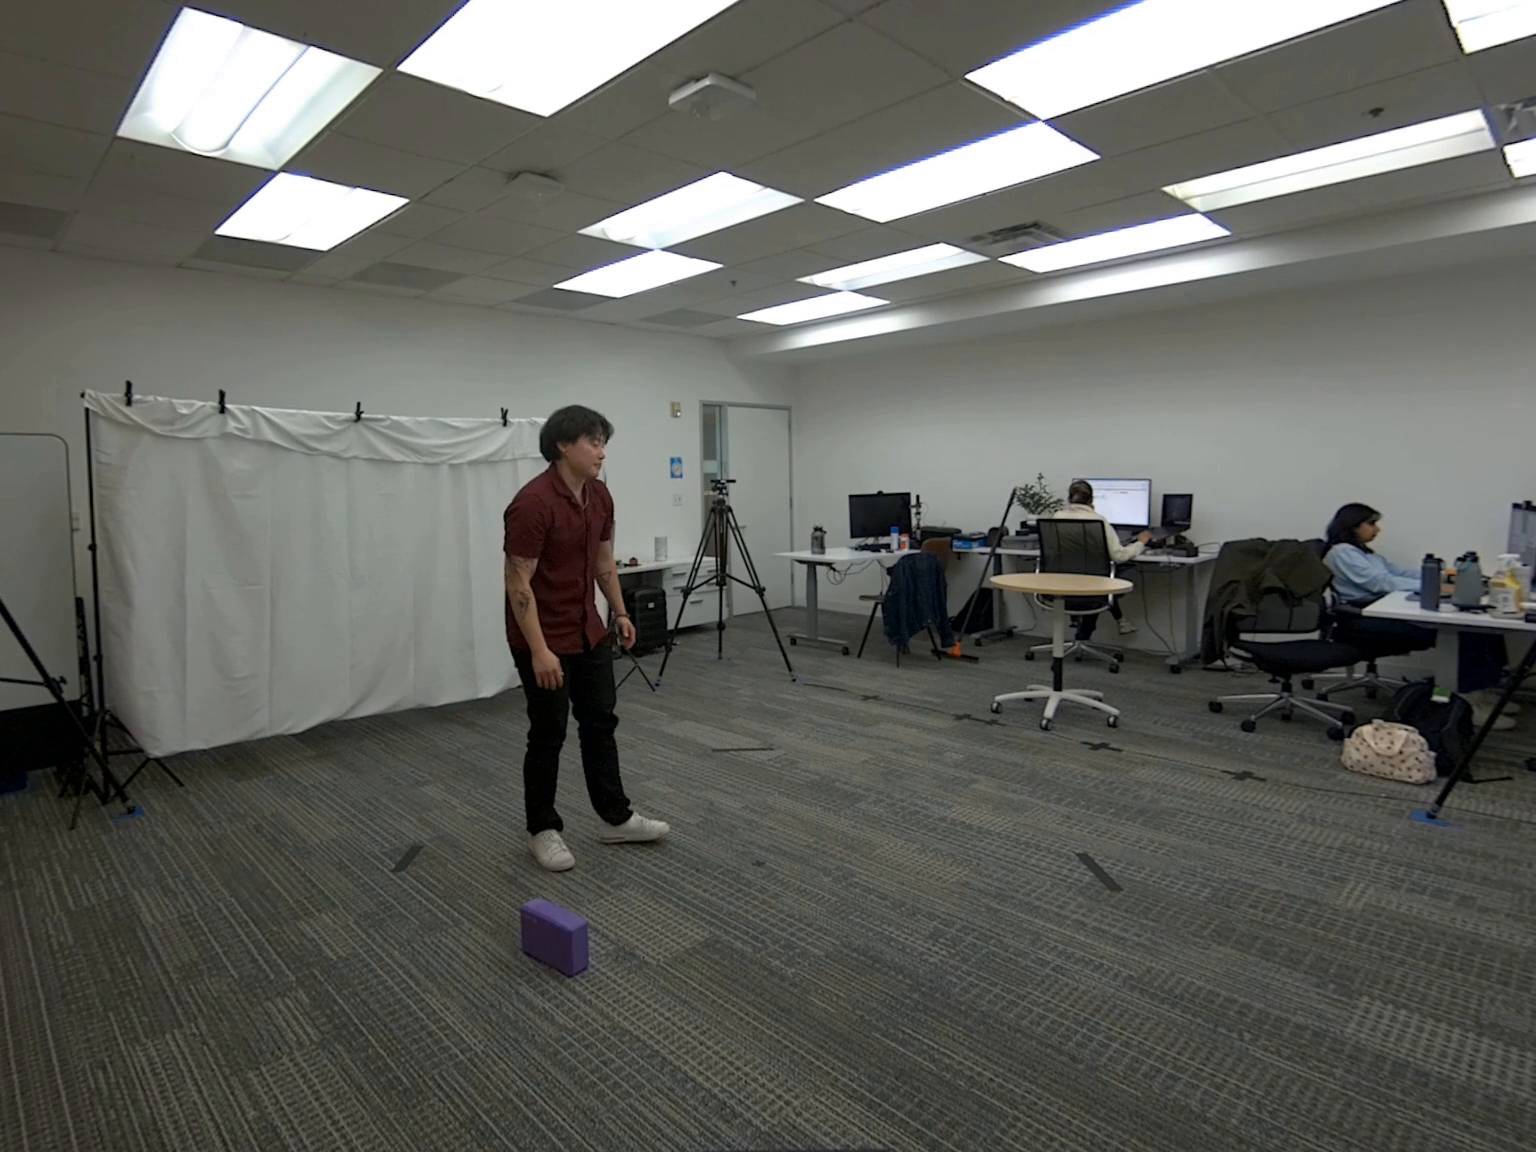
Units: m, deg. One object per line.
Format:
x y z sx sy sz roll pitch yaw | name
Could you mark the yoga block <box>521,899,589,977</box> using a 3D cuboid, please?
-0.623 1.053 2.509 0.236 0.148 0.074 3 5 38 | yoga block
